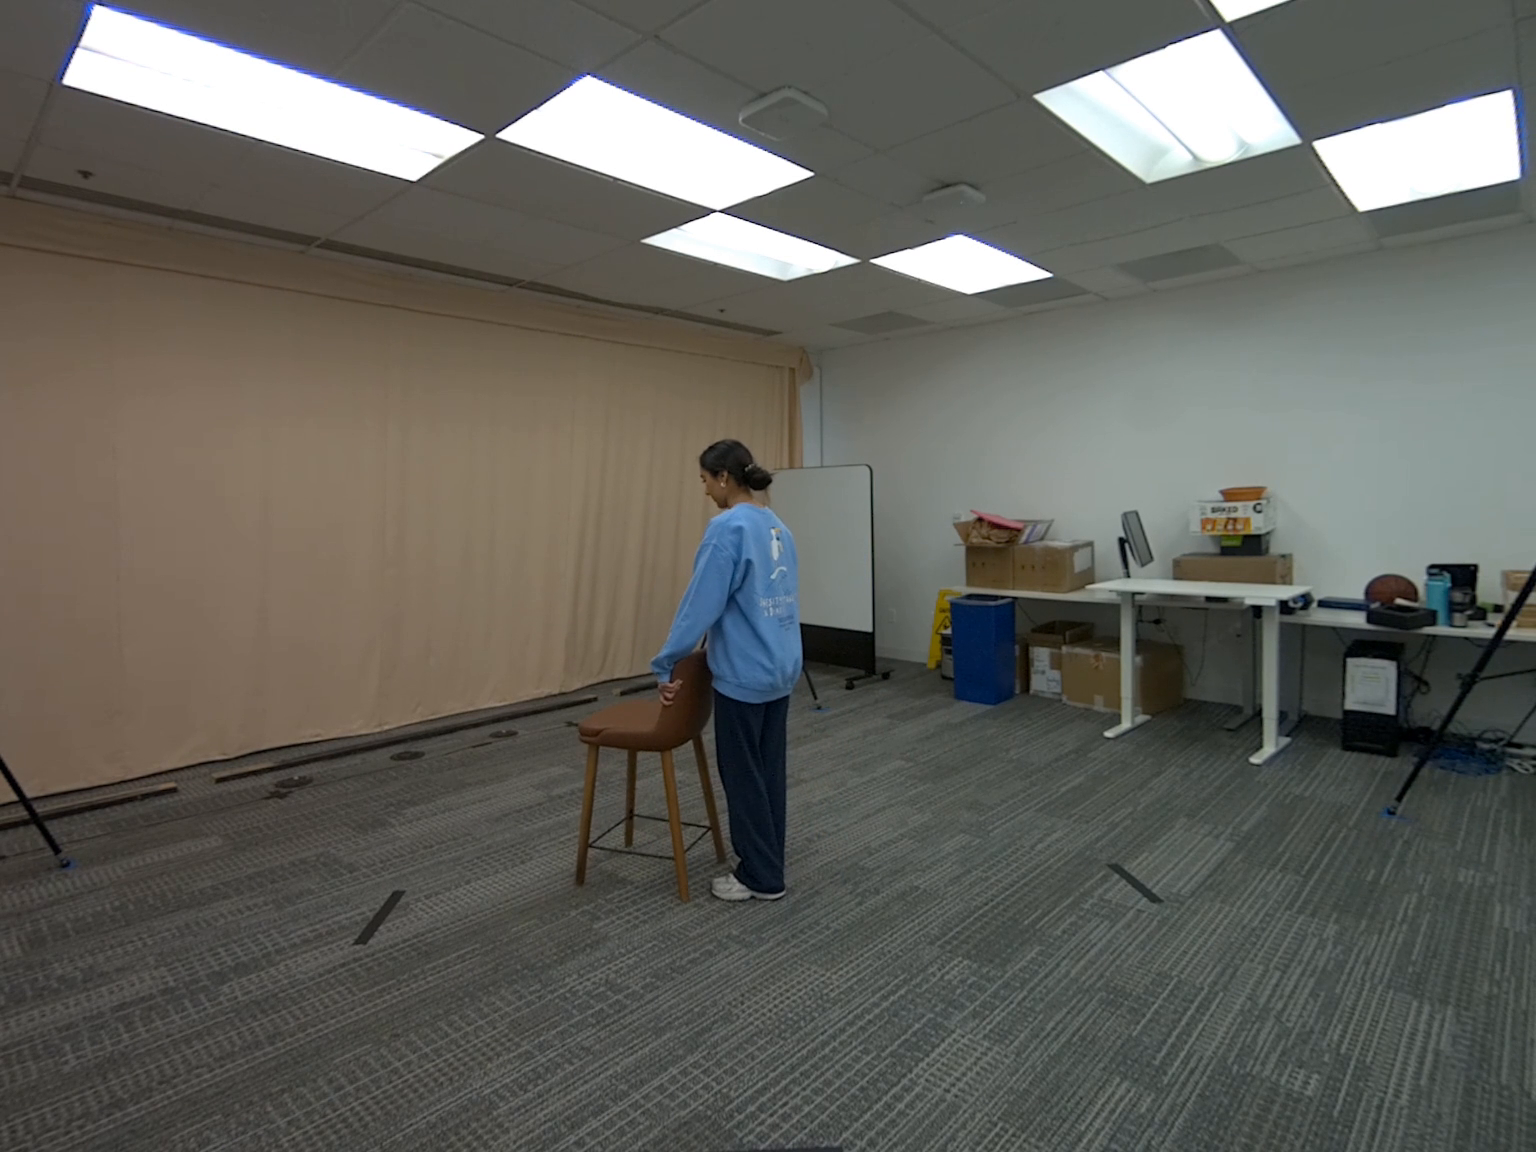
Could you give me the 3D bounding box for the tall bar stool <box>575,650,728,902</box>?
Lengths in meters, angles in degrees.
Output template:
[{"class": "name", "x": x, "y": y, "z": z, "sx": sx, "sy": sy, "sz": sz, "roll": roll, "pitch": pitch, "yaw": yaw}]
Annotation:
[{"class": "tall bar stool", "x": -0.436, "y": 0.694, "z": 3.189, "sx": 0.479, "sy": 0.887, "sz": 0.447, "roll": 3, "pitch": 4, "yaw": 22}]
